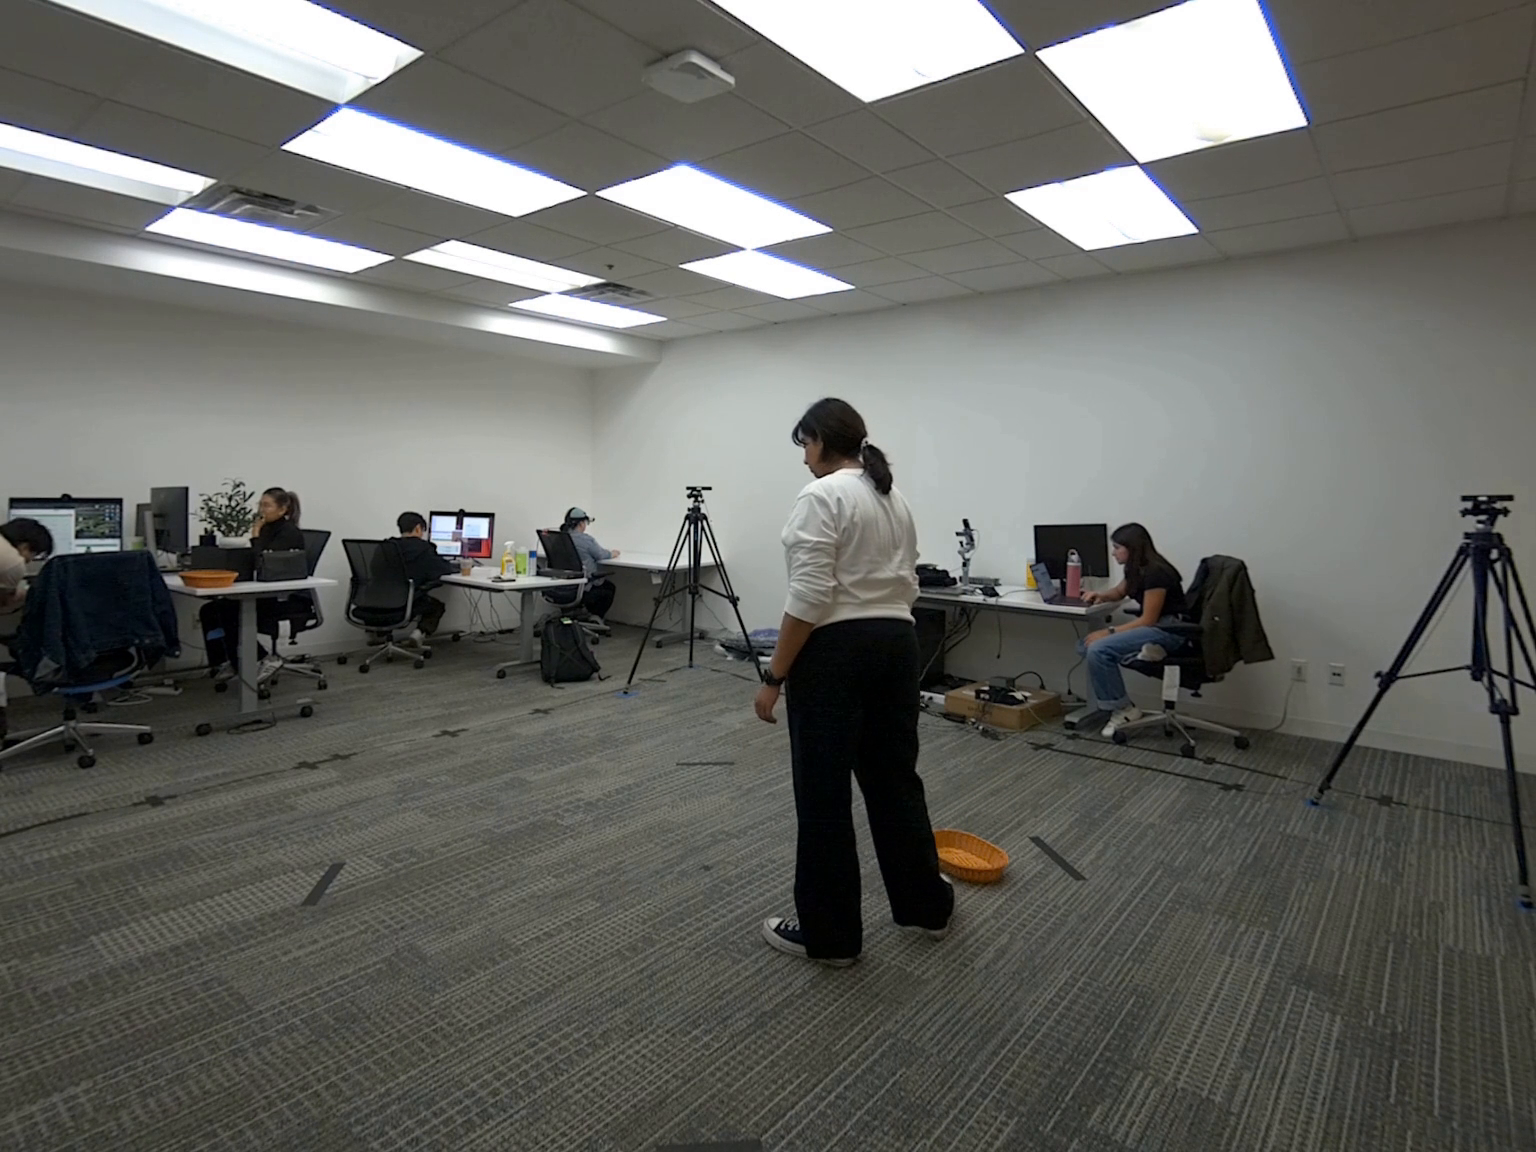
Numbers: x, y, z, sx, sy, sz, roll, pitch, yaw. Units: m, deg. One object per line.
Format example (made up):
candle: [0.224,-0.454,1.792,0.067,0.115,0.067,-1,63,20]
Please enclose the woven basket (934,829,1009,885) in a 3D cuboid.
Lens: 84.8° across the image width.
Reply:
woven basket: [0.728,1.047,3.161,0.246,0.073,0.361,-4,8,-31]
